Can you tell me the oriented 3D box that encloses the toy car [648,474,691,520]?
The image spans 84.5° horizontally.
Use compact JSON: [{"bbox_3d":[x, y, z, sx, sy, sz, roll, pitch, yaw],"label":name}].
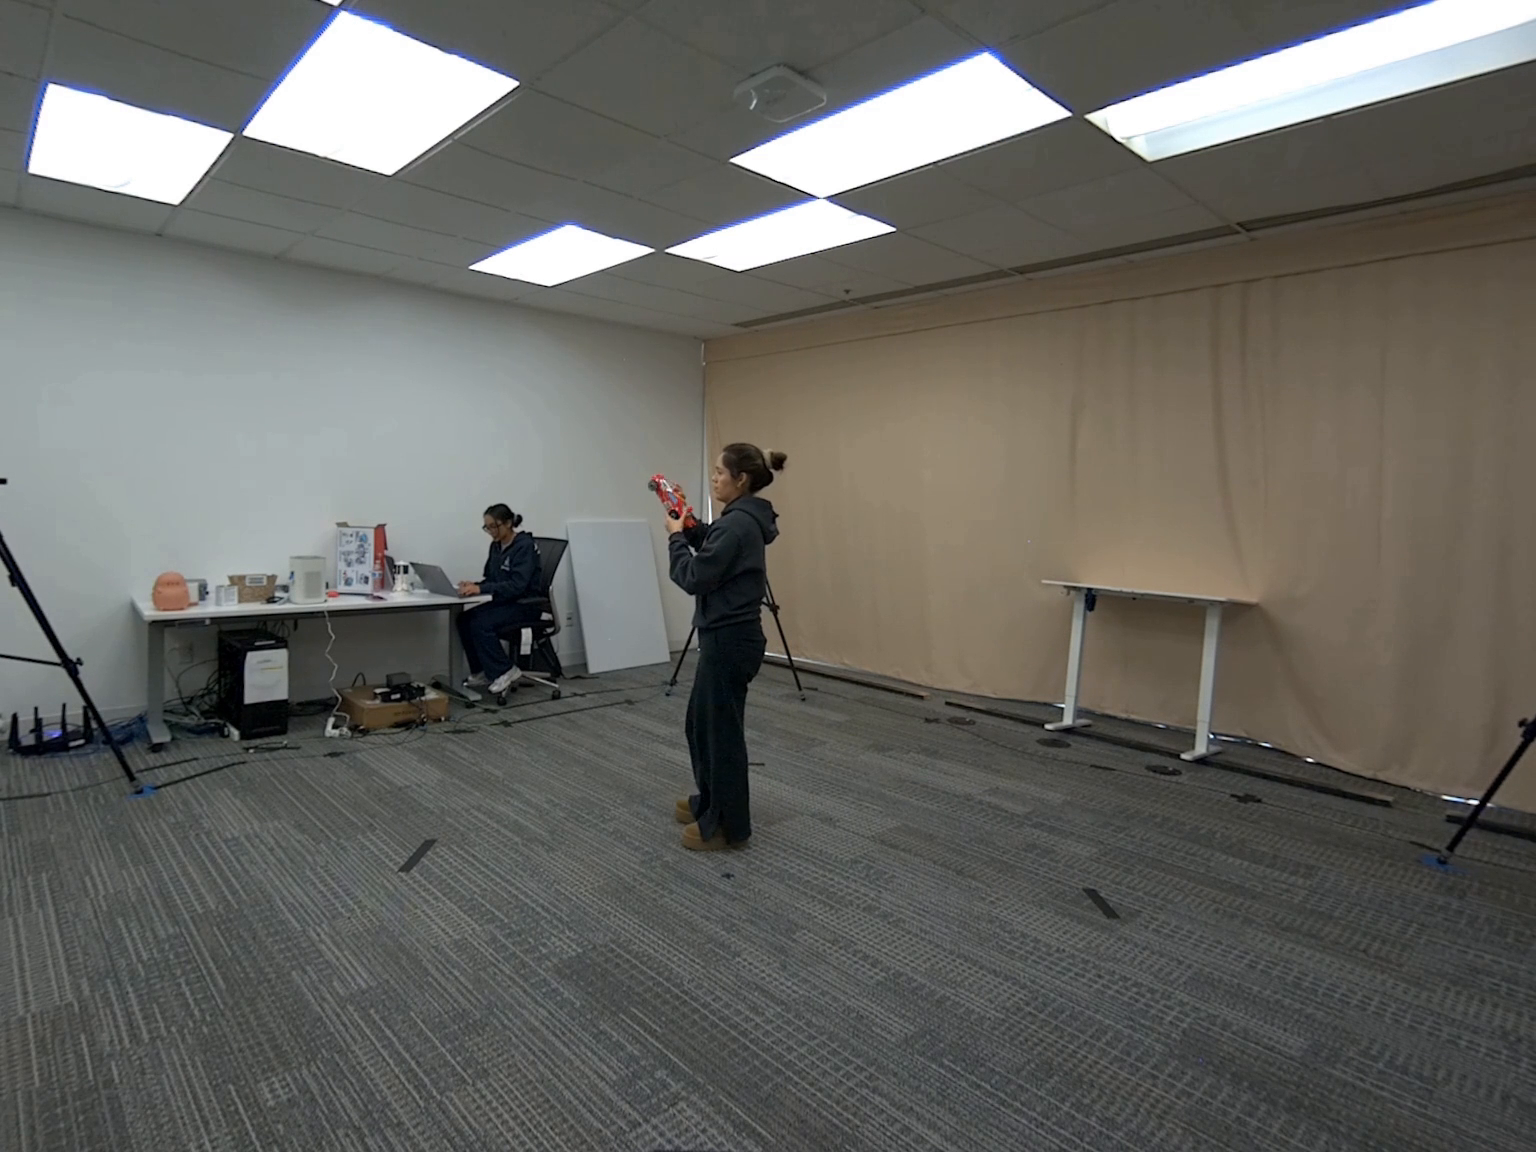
[{"bbox_3d":[-0.392,-0.295,3.368,0.083,0.255,0.130,-43,-2,20],"label":"toy car"}]
